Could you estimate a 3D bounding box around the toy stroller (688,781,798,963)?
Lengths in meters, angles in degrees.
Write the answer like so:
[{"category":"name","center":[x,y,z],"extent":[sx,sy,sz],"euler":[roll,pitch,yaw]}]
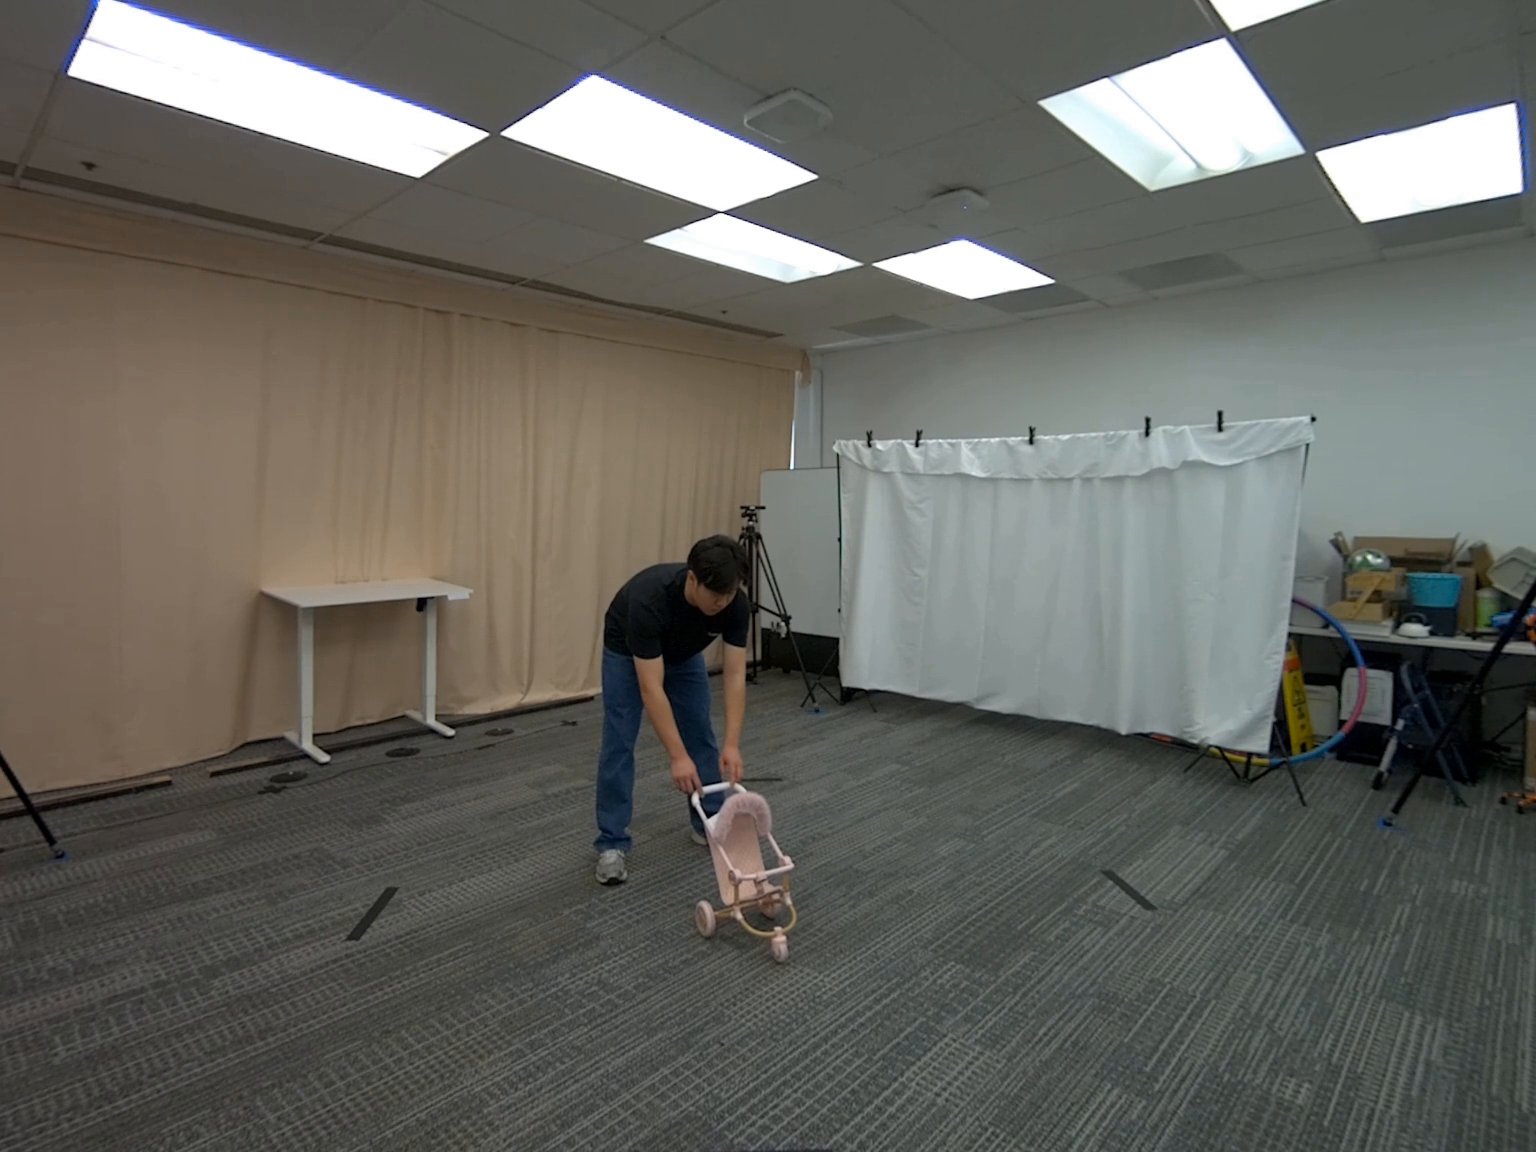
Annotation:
[{"category":"toy stroller","center":[-0.064,0.944,2.724],"extent":[0.274,0.540,0.347],"euler":[-2,-13,-27]}]
